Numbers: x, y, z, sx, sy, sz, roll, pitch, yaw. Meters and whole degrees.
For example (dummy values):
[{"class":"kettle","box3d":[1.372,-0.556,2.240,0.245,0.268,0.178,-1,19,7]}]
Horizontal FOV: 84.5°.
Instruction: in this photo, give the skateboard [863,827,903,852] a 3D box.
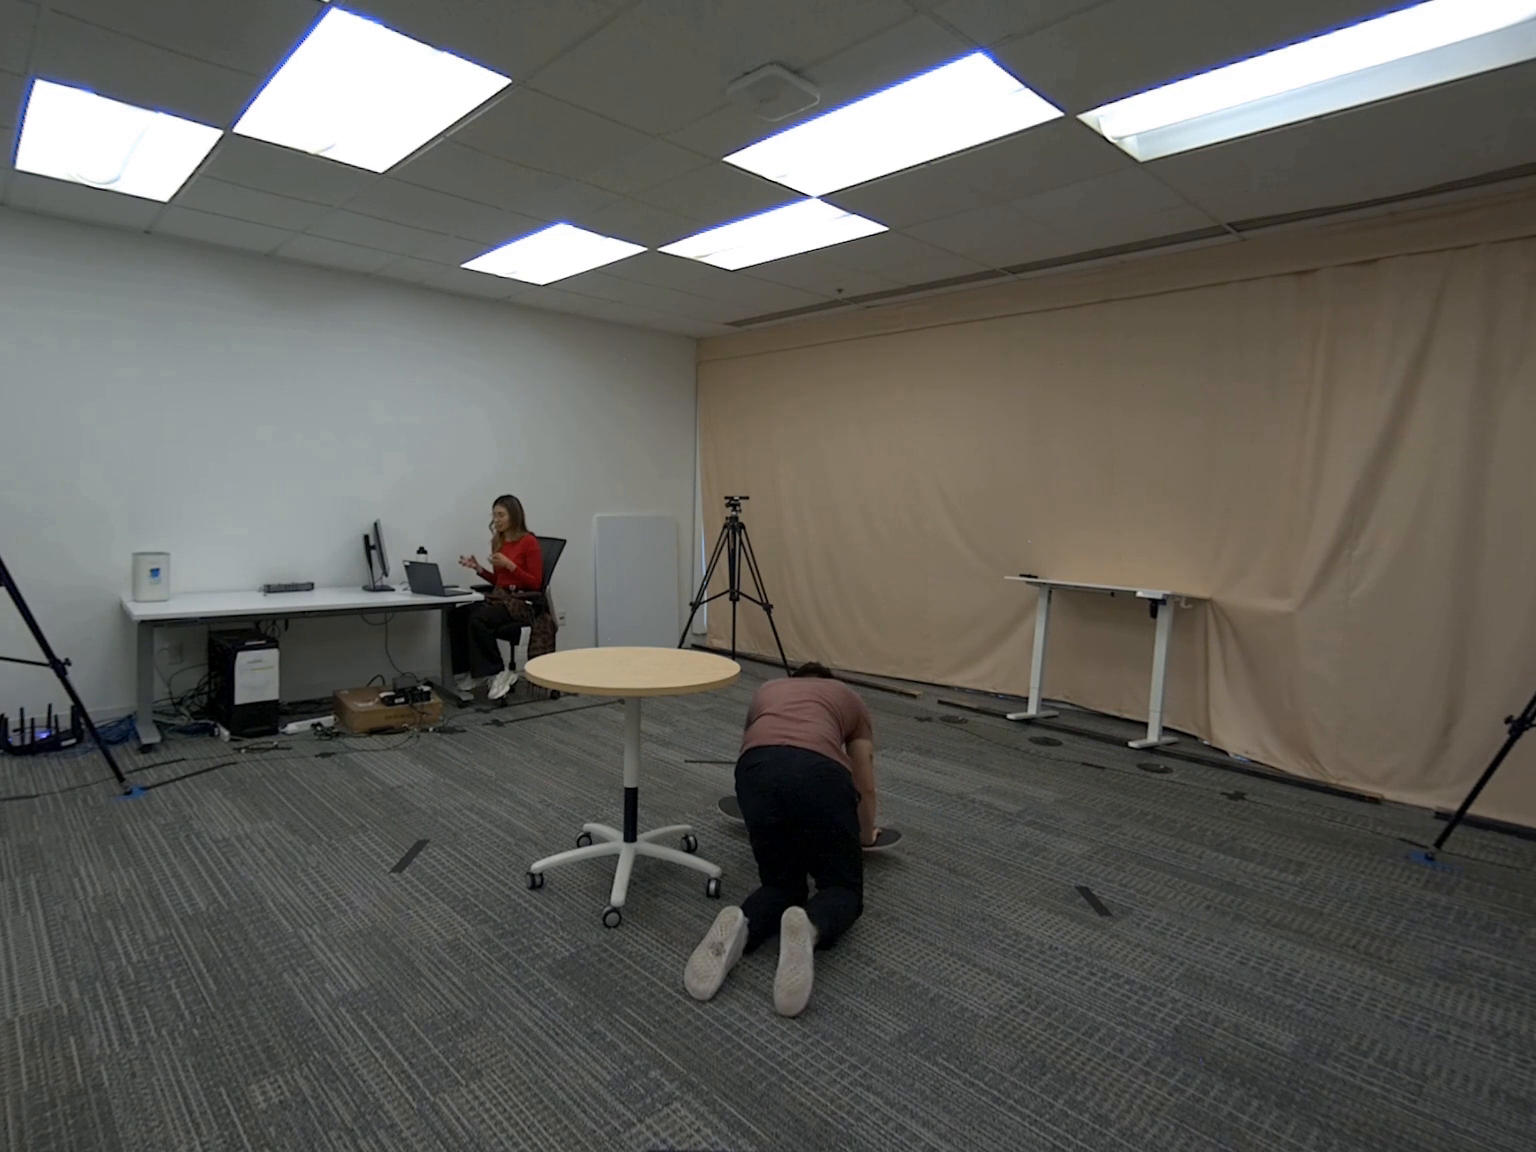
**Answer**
[{"class":"skateboard","box3d":[0.149,1.037,3.405,0.802,0.110,0.190,5,9,27]}]
